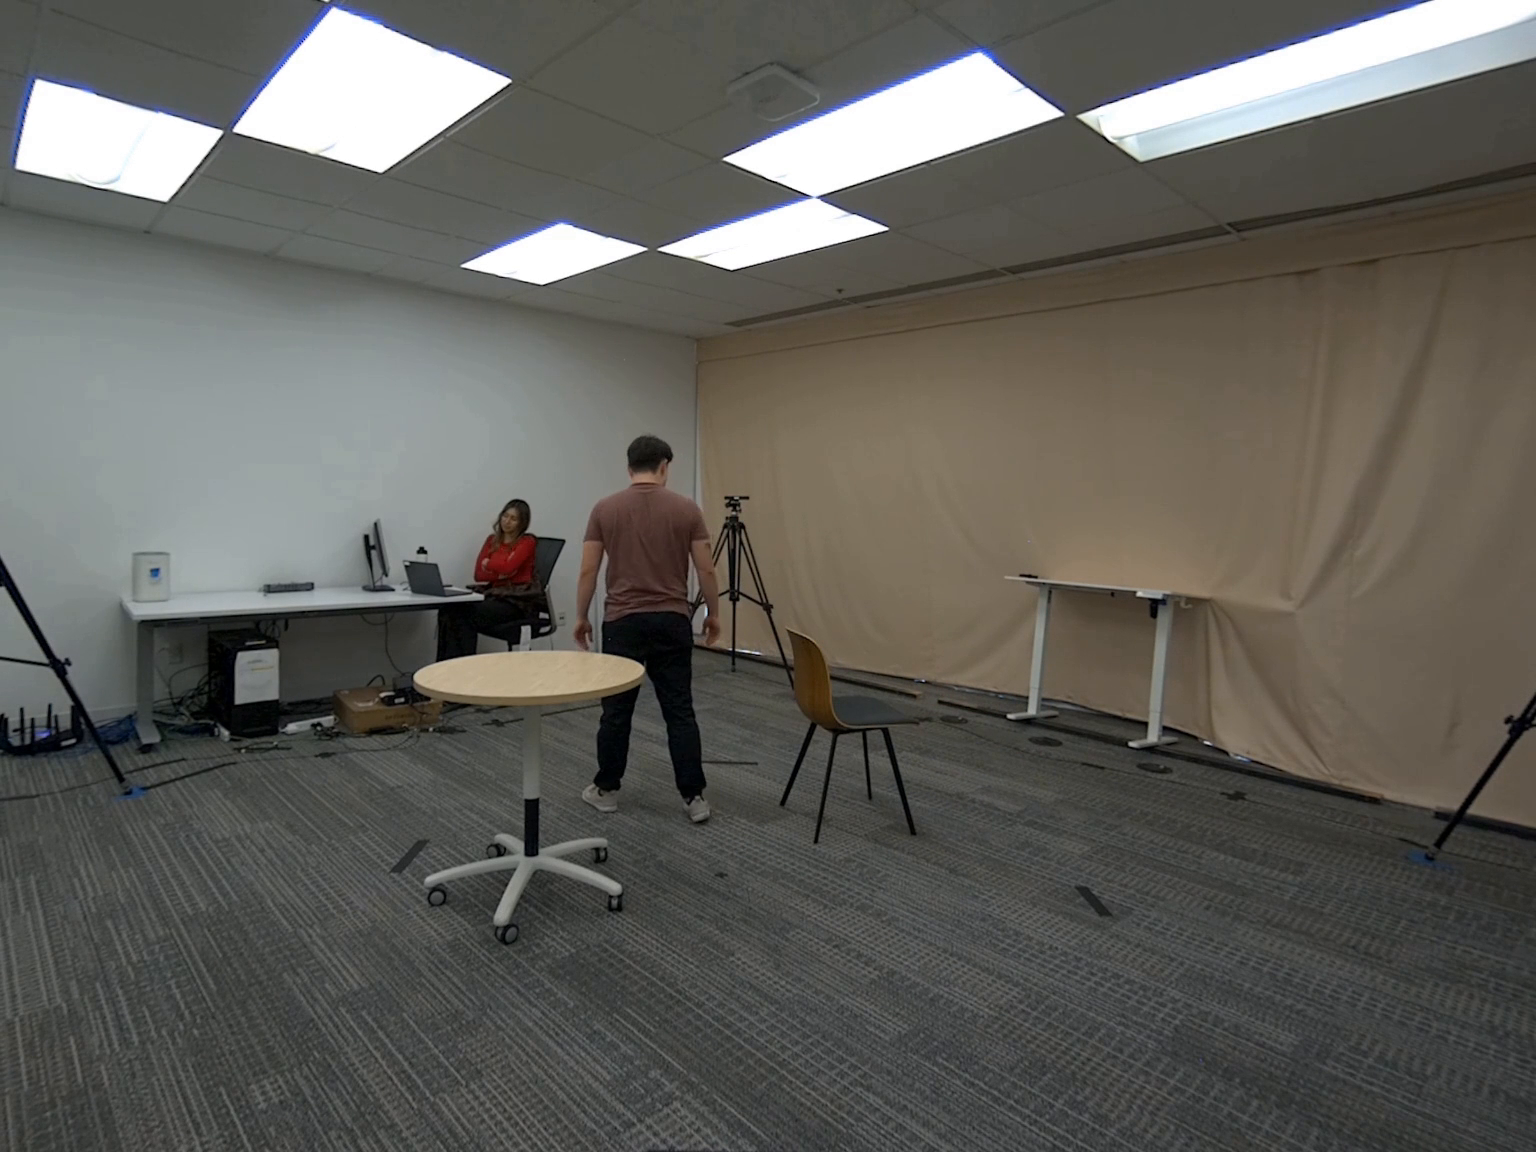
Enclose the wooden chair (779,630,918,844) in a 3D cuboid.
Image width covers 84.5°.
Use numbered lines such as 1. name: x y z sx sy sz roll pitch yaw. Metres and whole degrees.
1. wooden chair: 0.349 0.644 3.650 0.517 0.875 0.485 -3 4 -17
